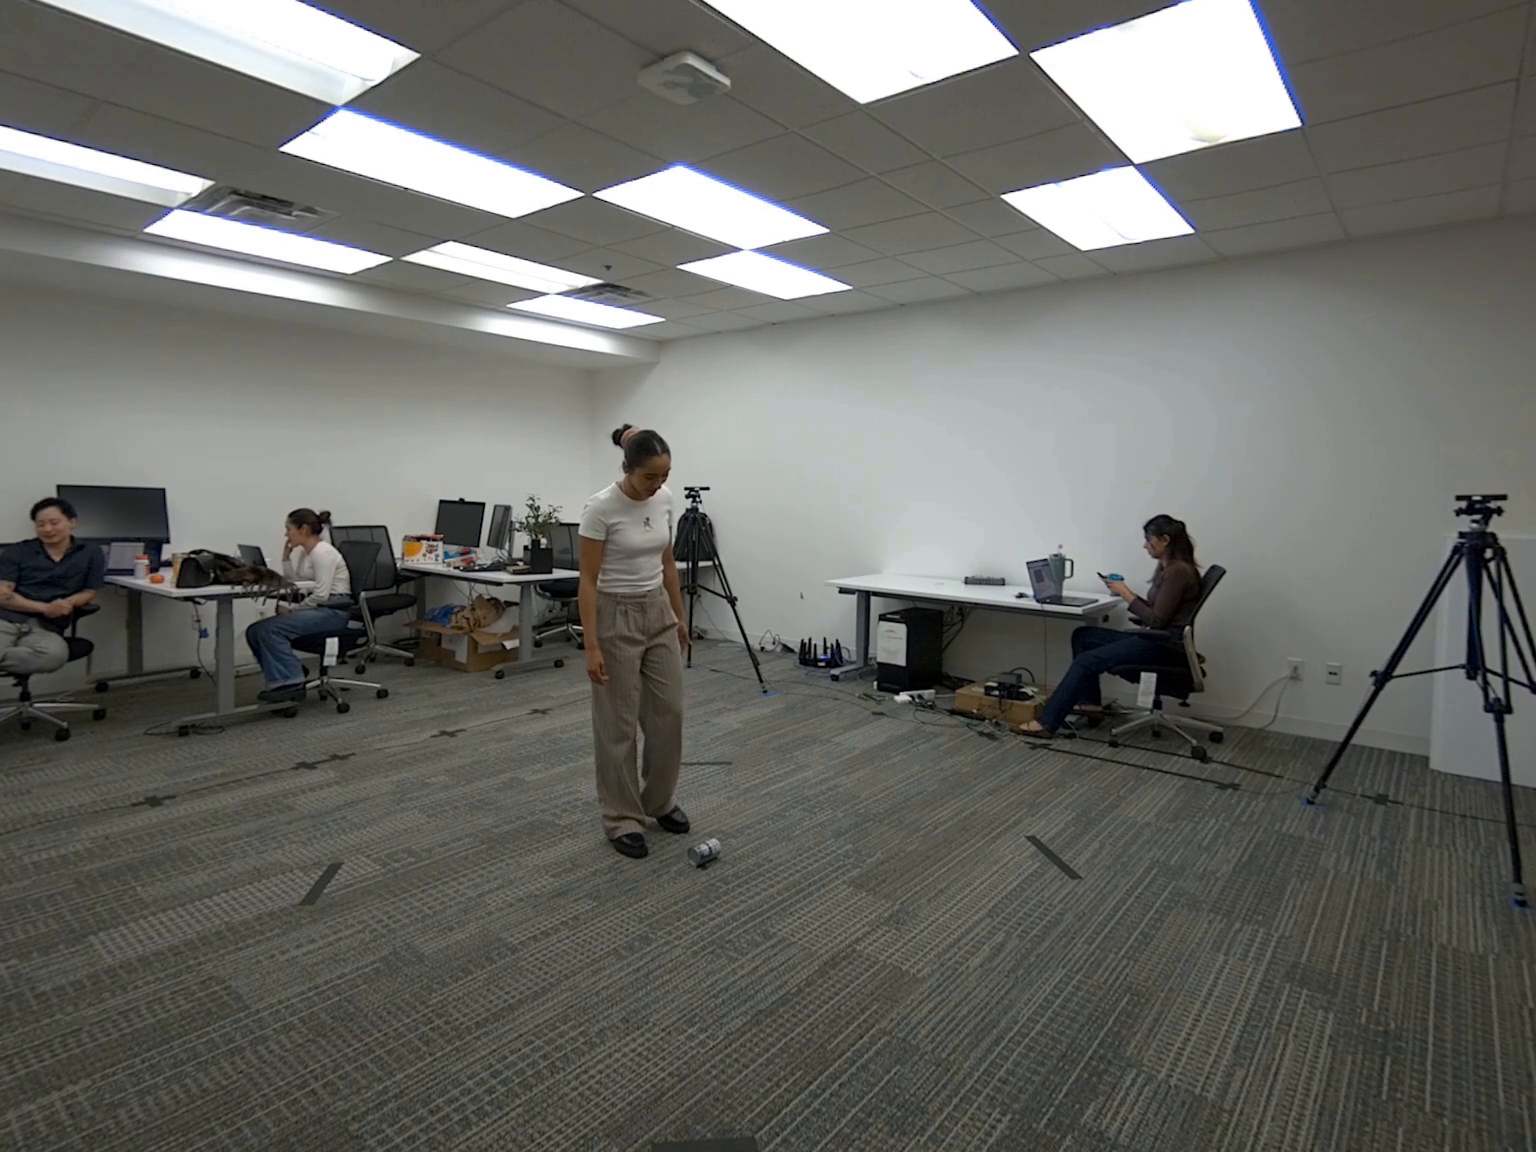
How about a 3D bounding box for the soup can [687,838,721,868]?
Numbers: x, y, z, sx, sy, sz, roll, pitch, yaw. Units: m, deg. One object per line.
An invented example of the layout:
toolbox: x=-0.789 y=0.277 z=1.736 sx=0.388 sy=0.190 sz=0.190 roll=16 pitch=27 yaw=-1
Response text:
soup can: x=-0.245 y=1.021 z=3.164 sx=0.069 sy=0.067 sz=0.118 roll=4 pitch=7 yaw=41
